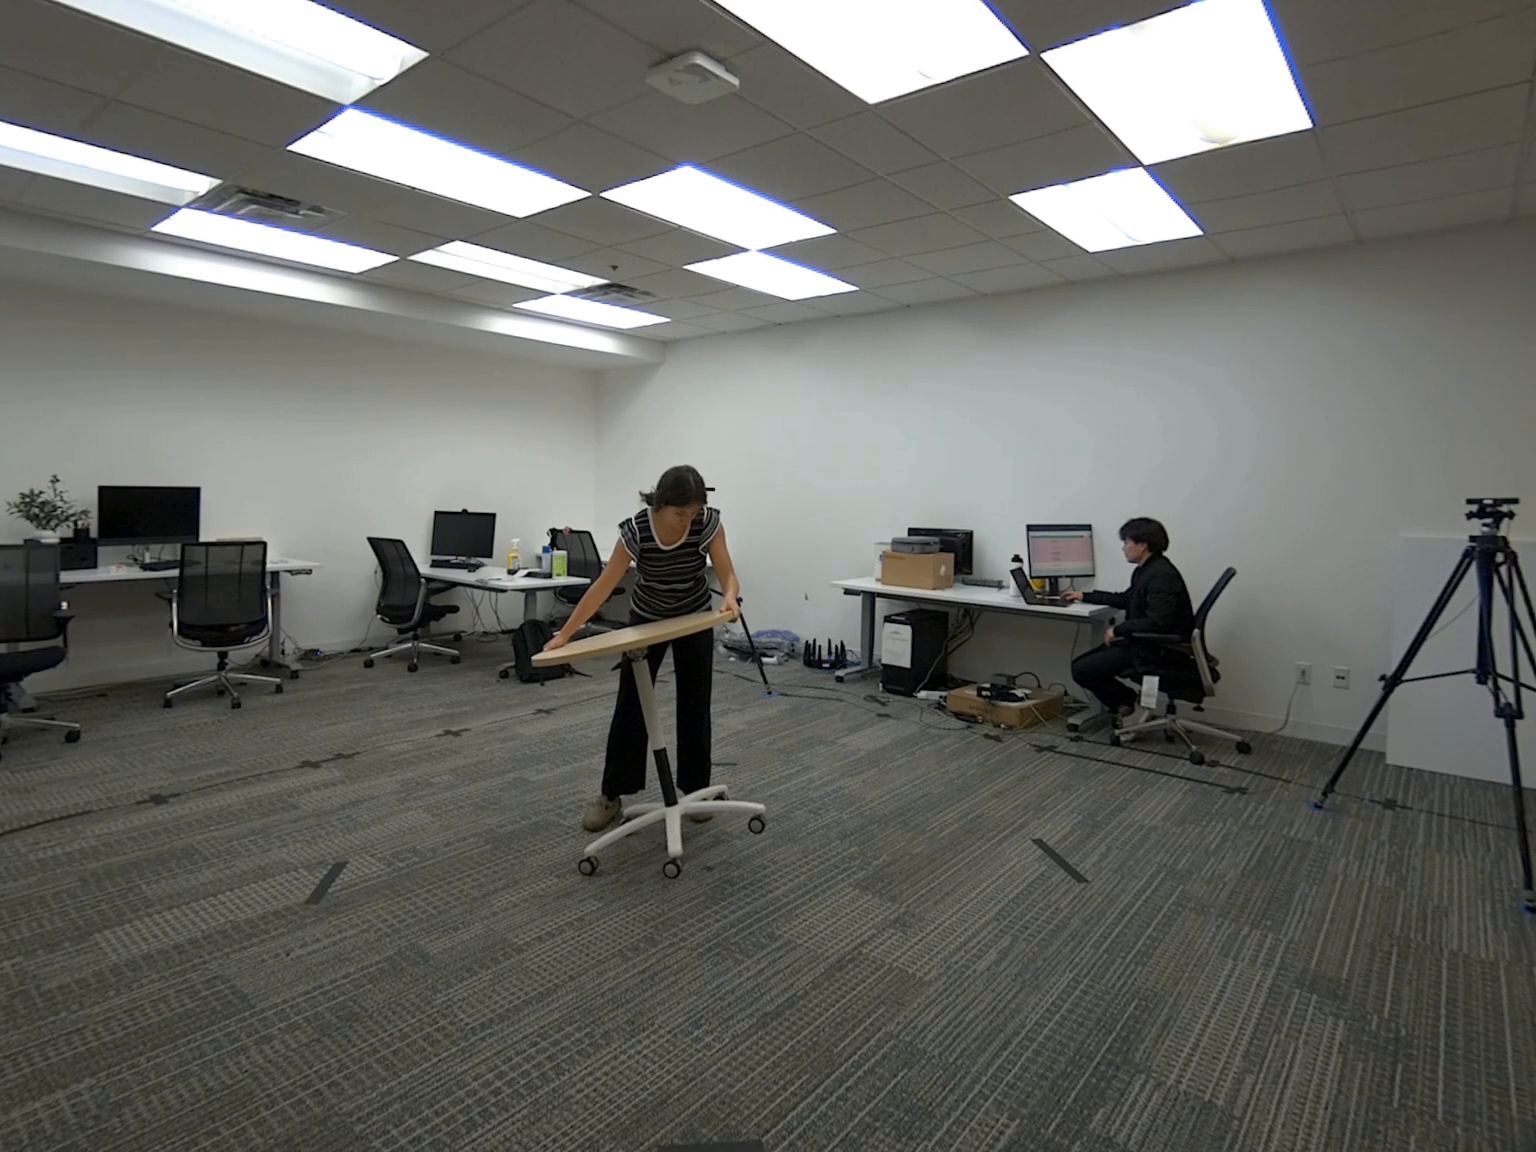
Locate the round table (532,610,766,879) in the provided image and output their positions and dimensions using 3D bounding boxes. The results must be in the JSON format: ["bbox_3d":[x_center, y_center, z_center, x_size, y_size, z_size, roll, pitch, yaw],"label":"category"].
[{"bbox_3d":[-0.416,0.596,3.174,0.784,0.786,0.786,-13,1,-2],"label":"round table"}]
